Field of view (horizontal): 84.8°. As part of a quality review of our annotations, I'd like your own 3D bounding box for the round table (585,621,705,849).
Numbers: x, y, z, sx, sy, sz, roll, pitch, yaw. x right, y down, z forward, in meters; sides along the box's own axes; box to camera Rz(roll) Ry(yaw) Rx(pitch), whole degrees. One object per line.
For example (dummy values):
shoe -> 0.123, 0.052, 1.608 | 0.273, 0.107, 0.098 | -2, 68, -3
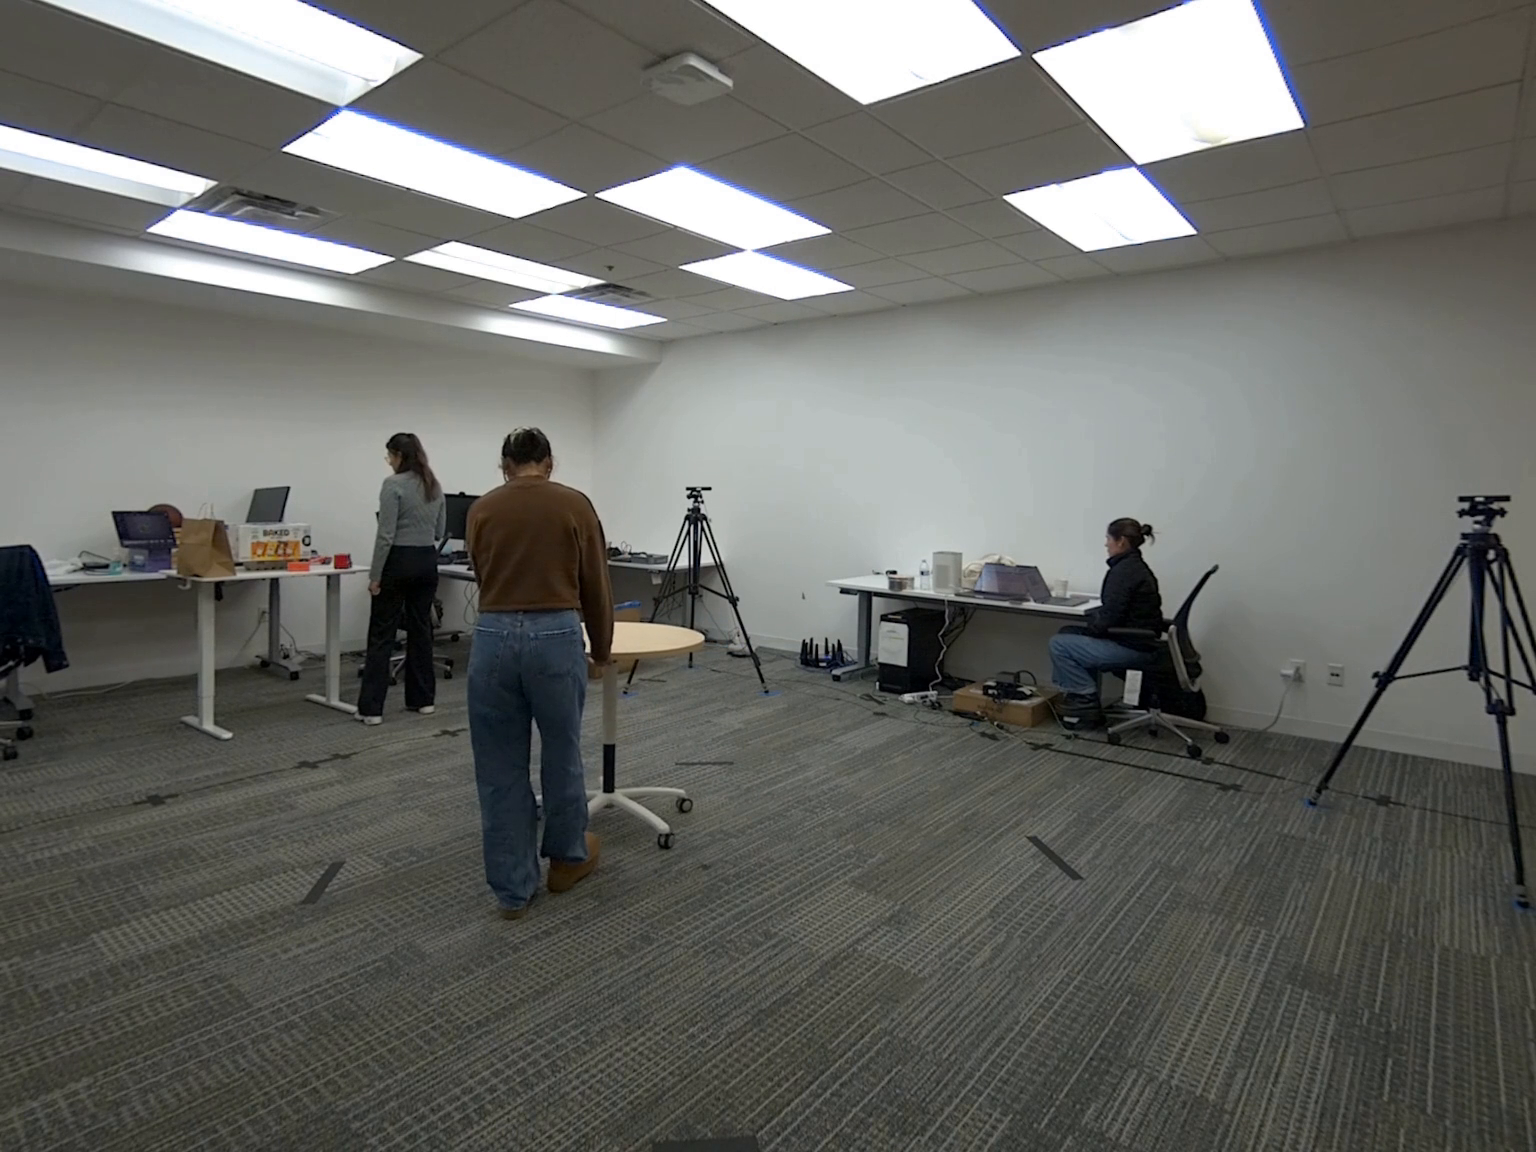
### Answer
round table -> -0.654, 0.636, 3.475 | 0.763, 0.792, 0.767 | 1, 3, -2
